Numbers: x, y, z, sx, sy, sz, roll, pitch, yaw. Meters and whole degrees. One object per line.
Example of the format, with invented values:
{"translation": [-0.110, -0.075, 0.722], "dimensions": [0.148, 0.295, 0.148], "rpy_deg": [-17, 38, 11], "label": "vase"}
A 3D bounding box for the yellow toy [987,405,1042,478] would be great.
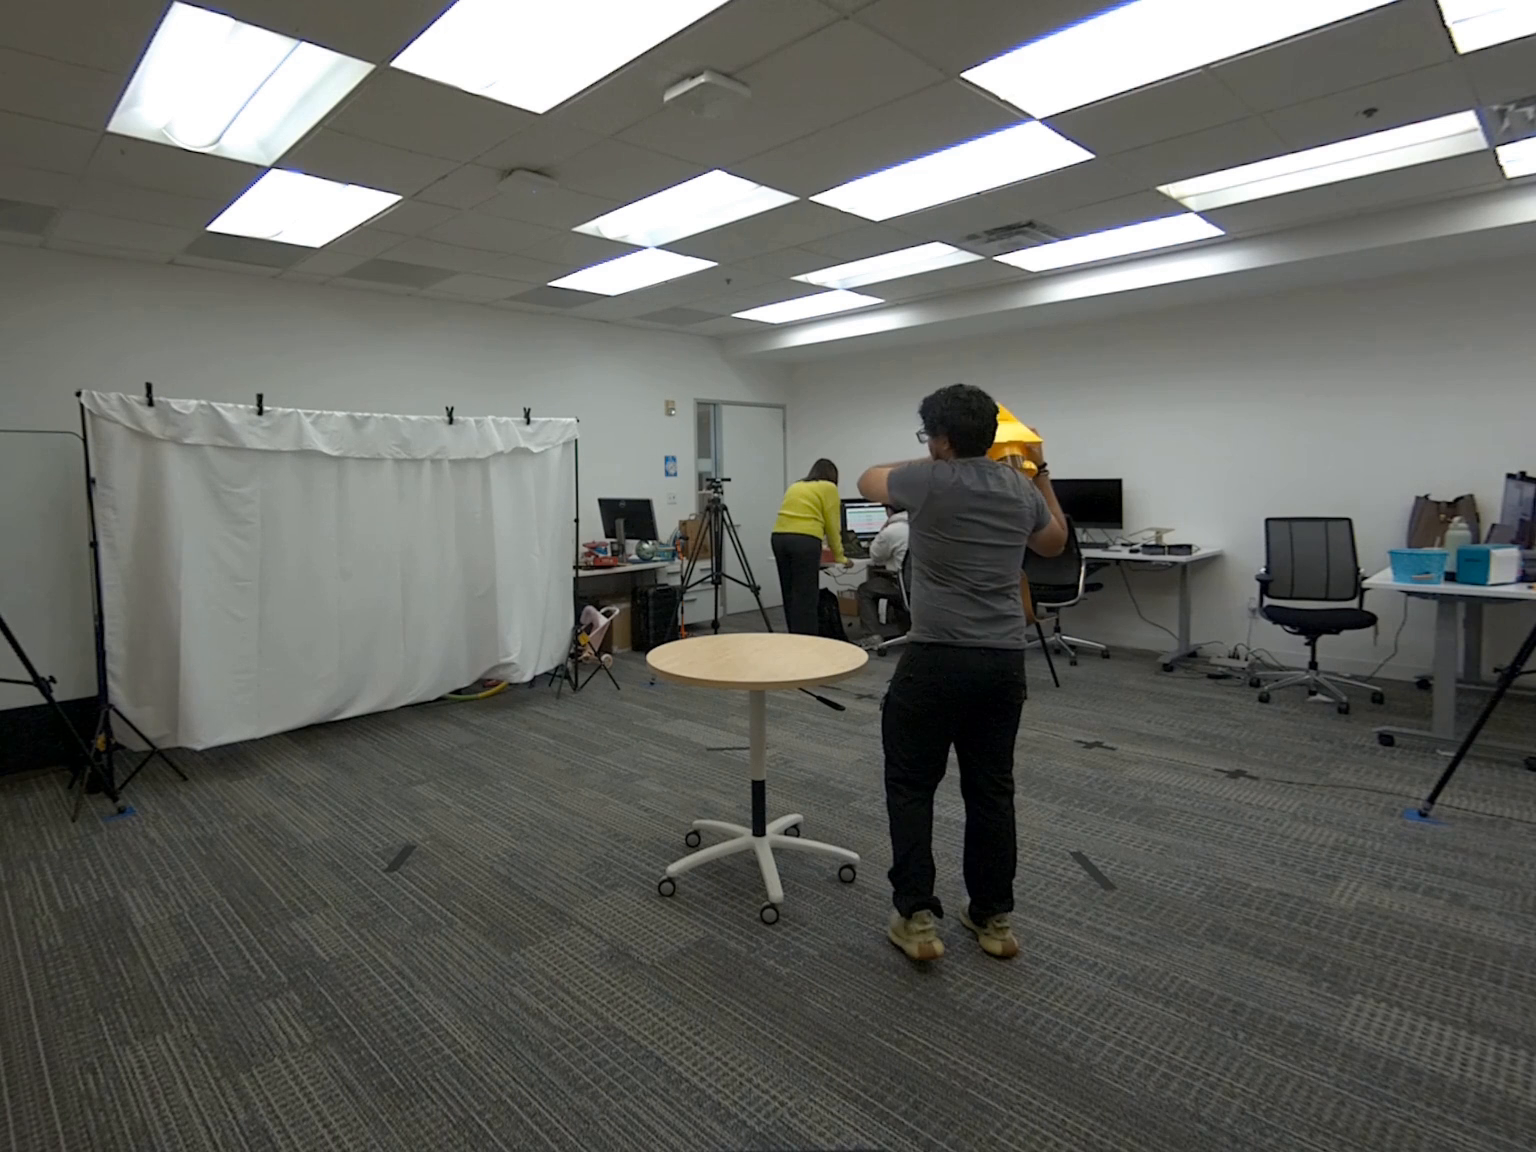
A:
{"translation": [0.711, -0.413, 2.676], "dimensions": [0.201, 0.235, 0.193], "rpy_deg": [-3, -19, -19], "label": "yellow toy"}
